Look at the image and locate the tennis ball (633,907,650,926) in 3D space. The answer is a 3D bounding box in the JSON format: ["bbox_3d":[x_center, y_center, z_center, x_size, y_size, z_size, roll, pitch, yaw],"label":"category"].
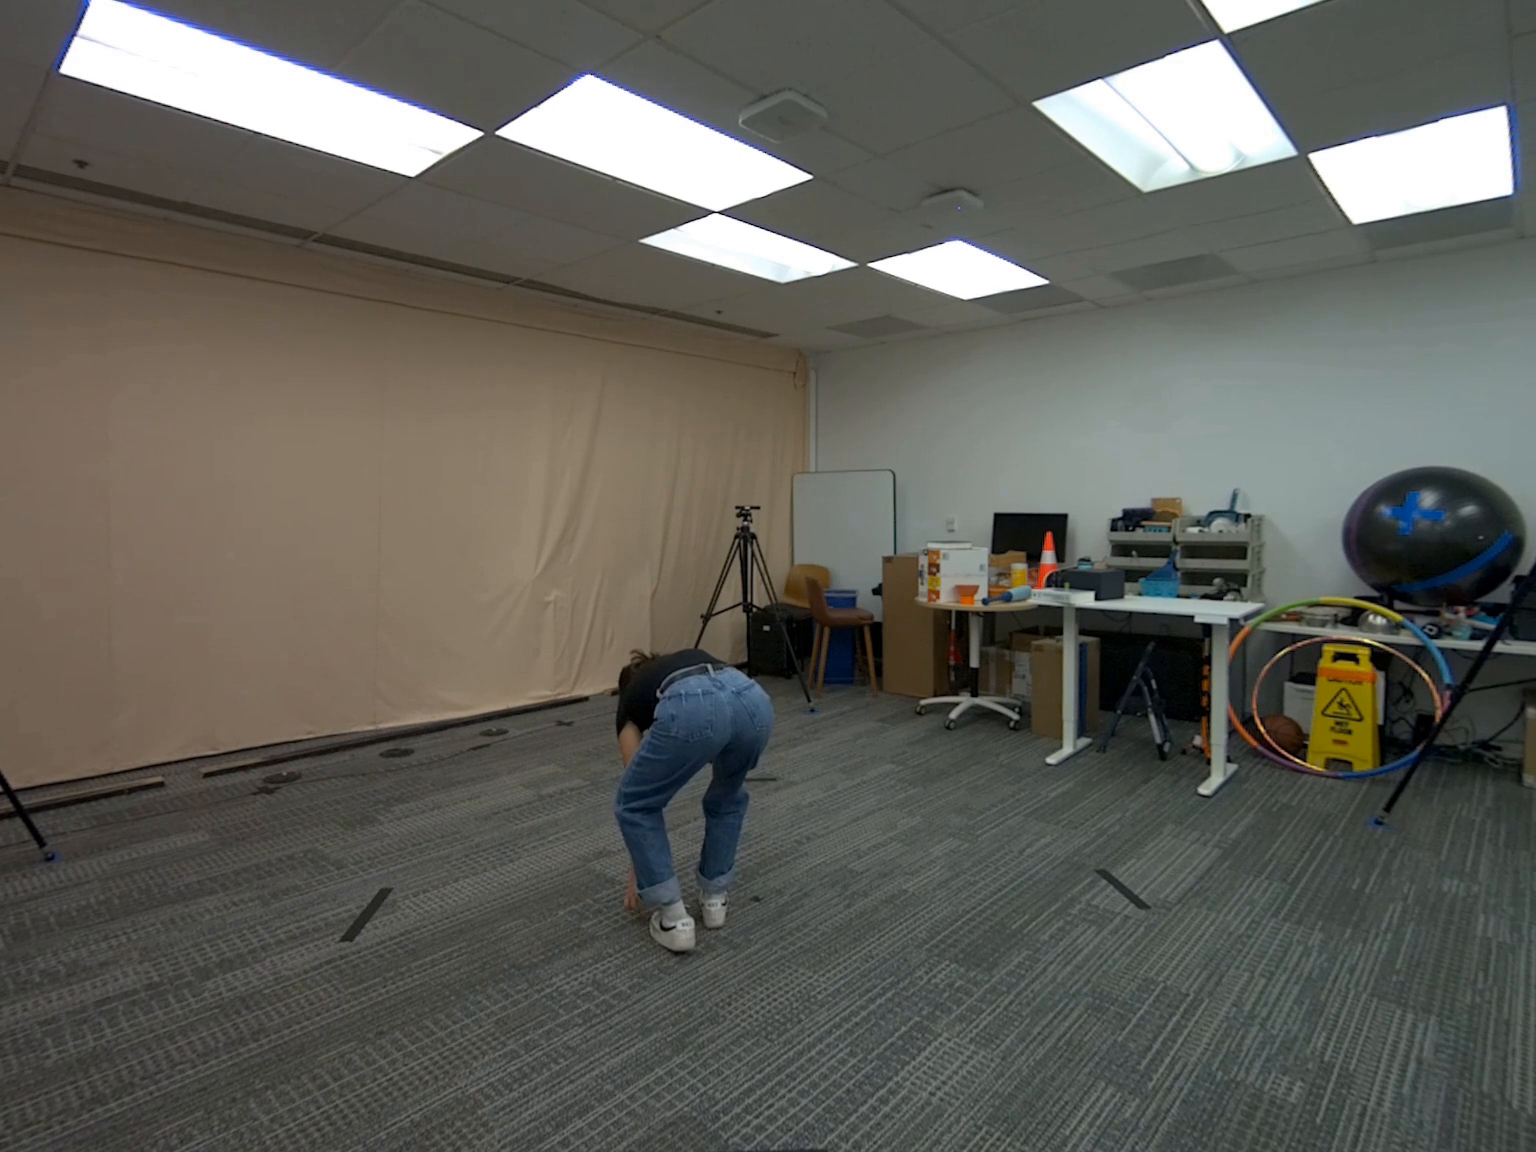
[{"bbox_3d":[-0.414,1.111,2.818,0.066,0.066,0.067,0,4,-2],"label":"tennis ball"}]
